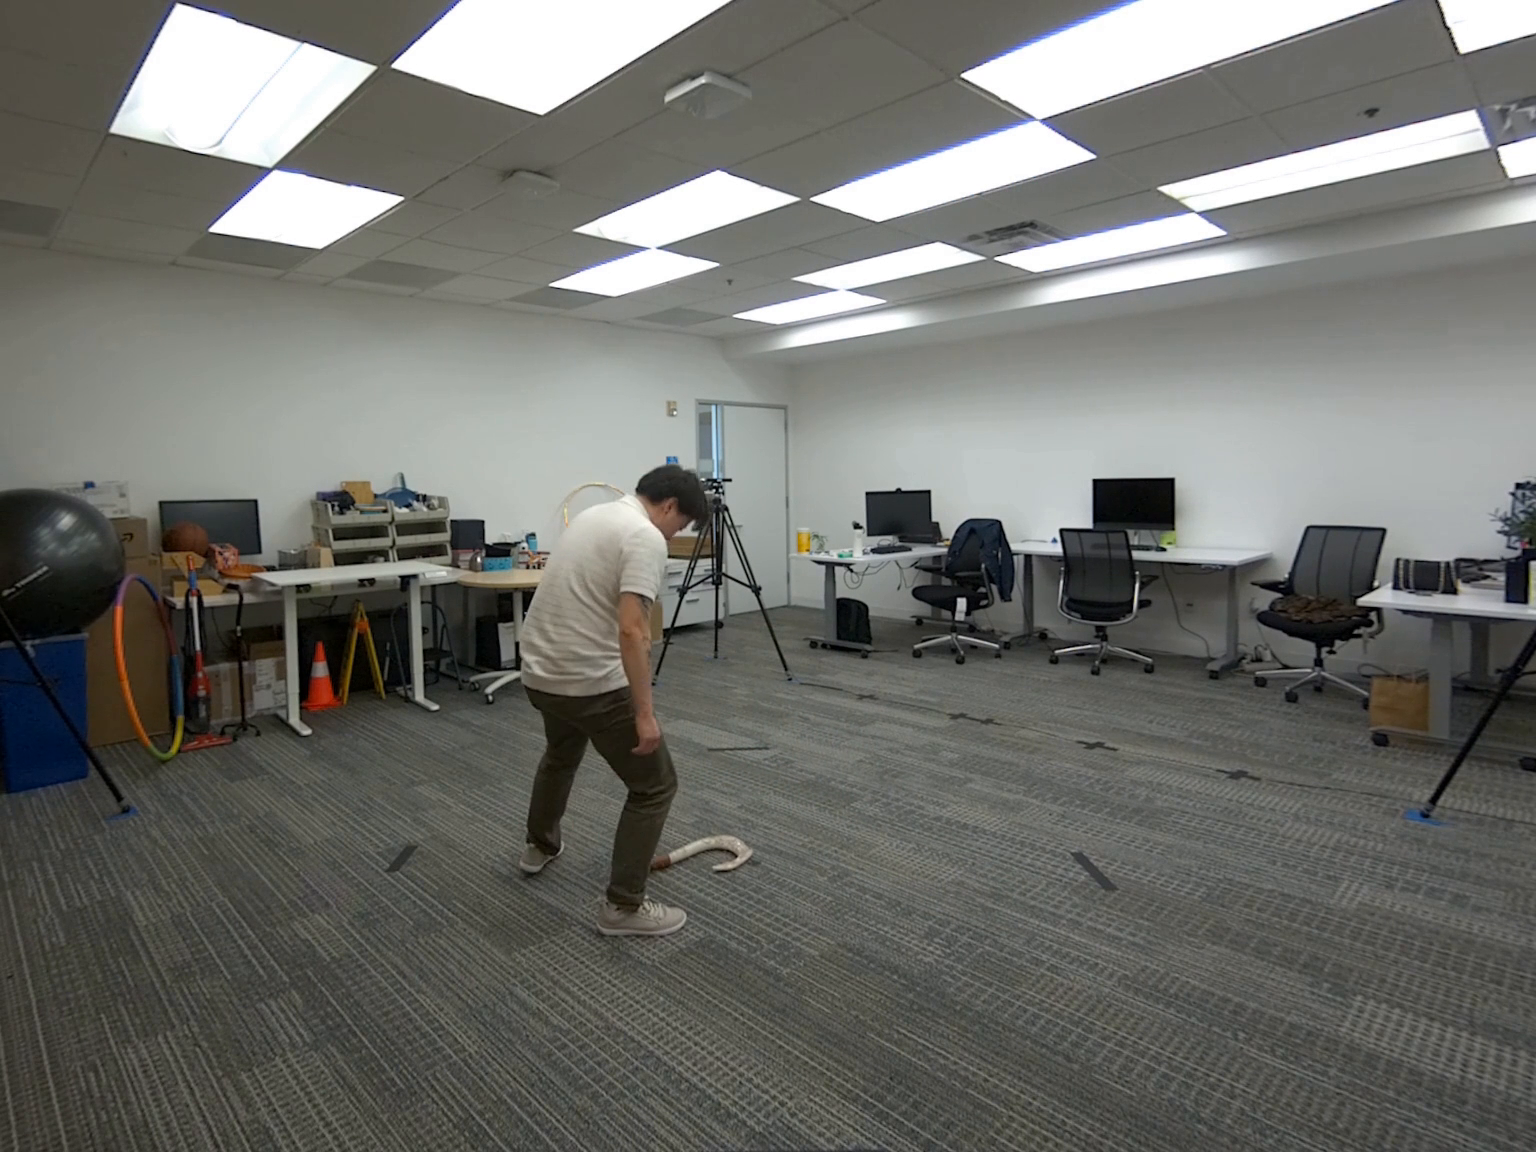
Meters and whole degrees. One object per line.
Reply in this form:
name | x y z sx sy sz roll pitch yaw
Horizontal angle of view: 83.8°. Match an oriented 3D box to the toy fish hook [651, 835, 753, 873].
toy fish hook | -0.285 1.028 3.082 0.495 0.048 0.231 -6 7 -31
